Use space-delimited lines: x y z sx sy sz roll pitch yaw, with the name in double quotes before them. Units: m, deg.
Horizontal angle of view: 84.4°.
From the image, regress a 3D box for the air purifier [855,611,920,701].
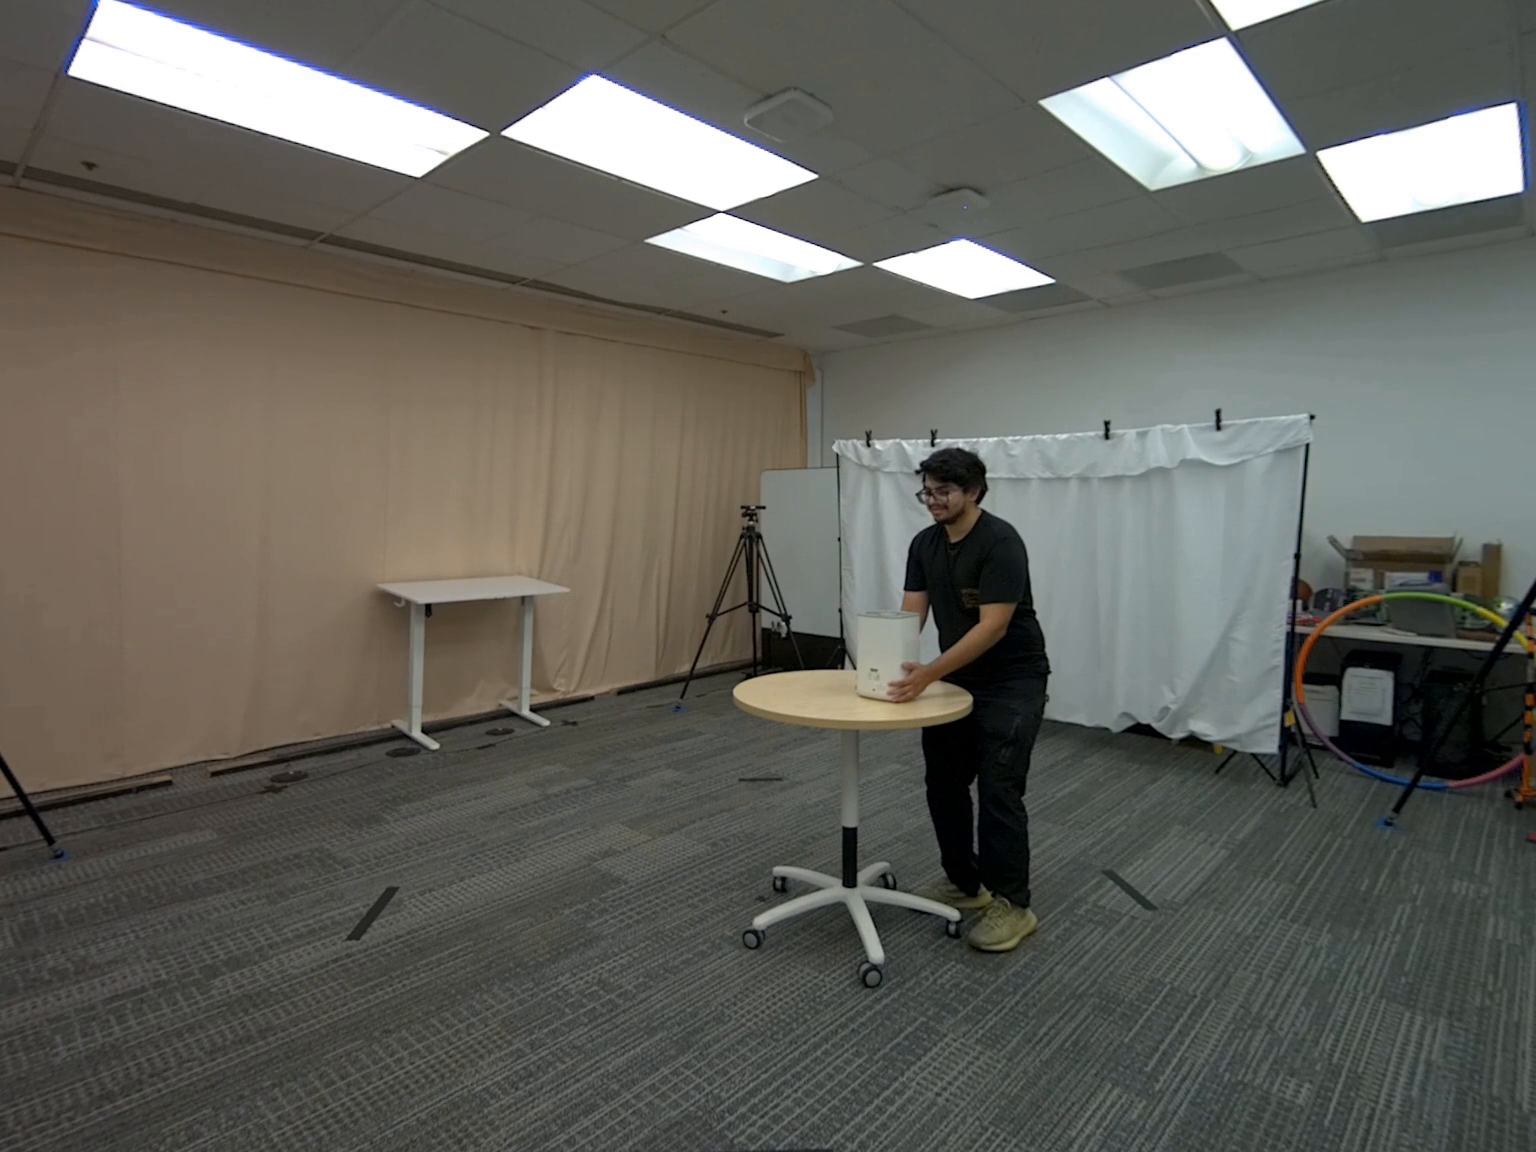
"air purifier" 0.396 0.254 2.670 0.176 0.265 0.166 2 4 39
